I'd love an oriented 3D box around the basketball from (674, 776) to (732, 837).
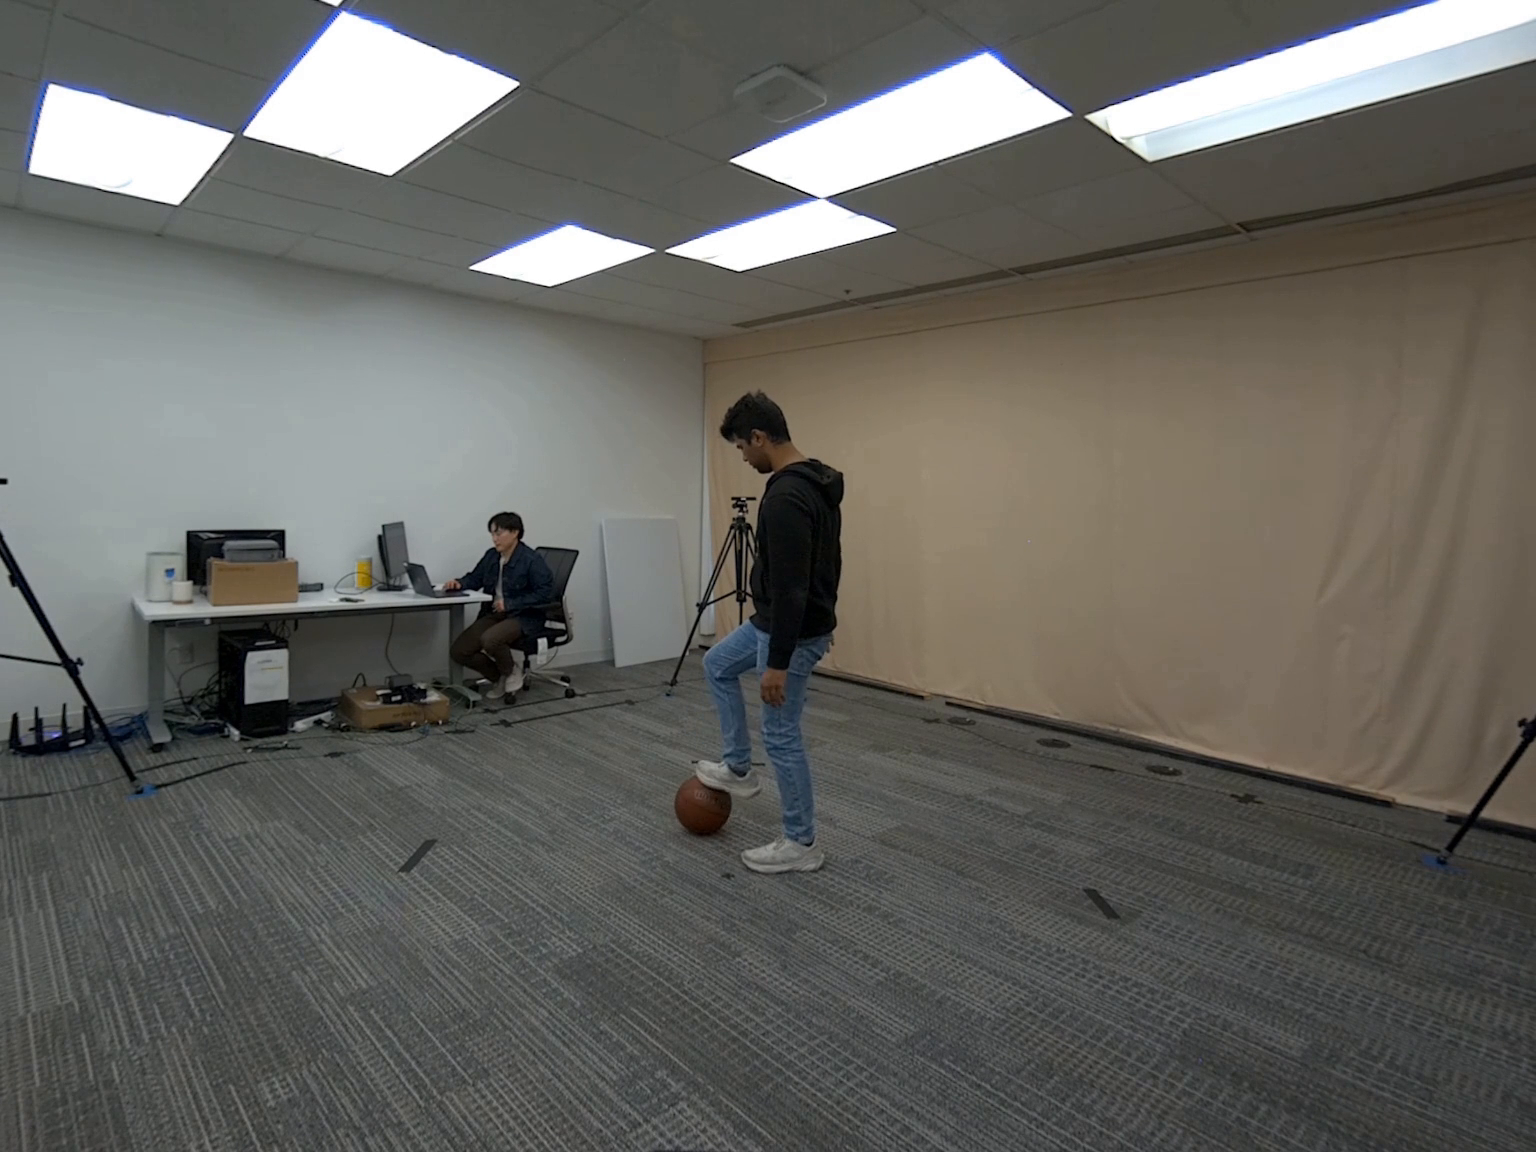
[{"bbox_3d":[-0.289,0.947,3.513,0.236,0.235,0.237,1,4,-1],"label":"basketball"}]
